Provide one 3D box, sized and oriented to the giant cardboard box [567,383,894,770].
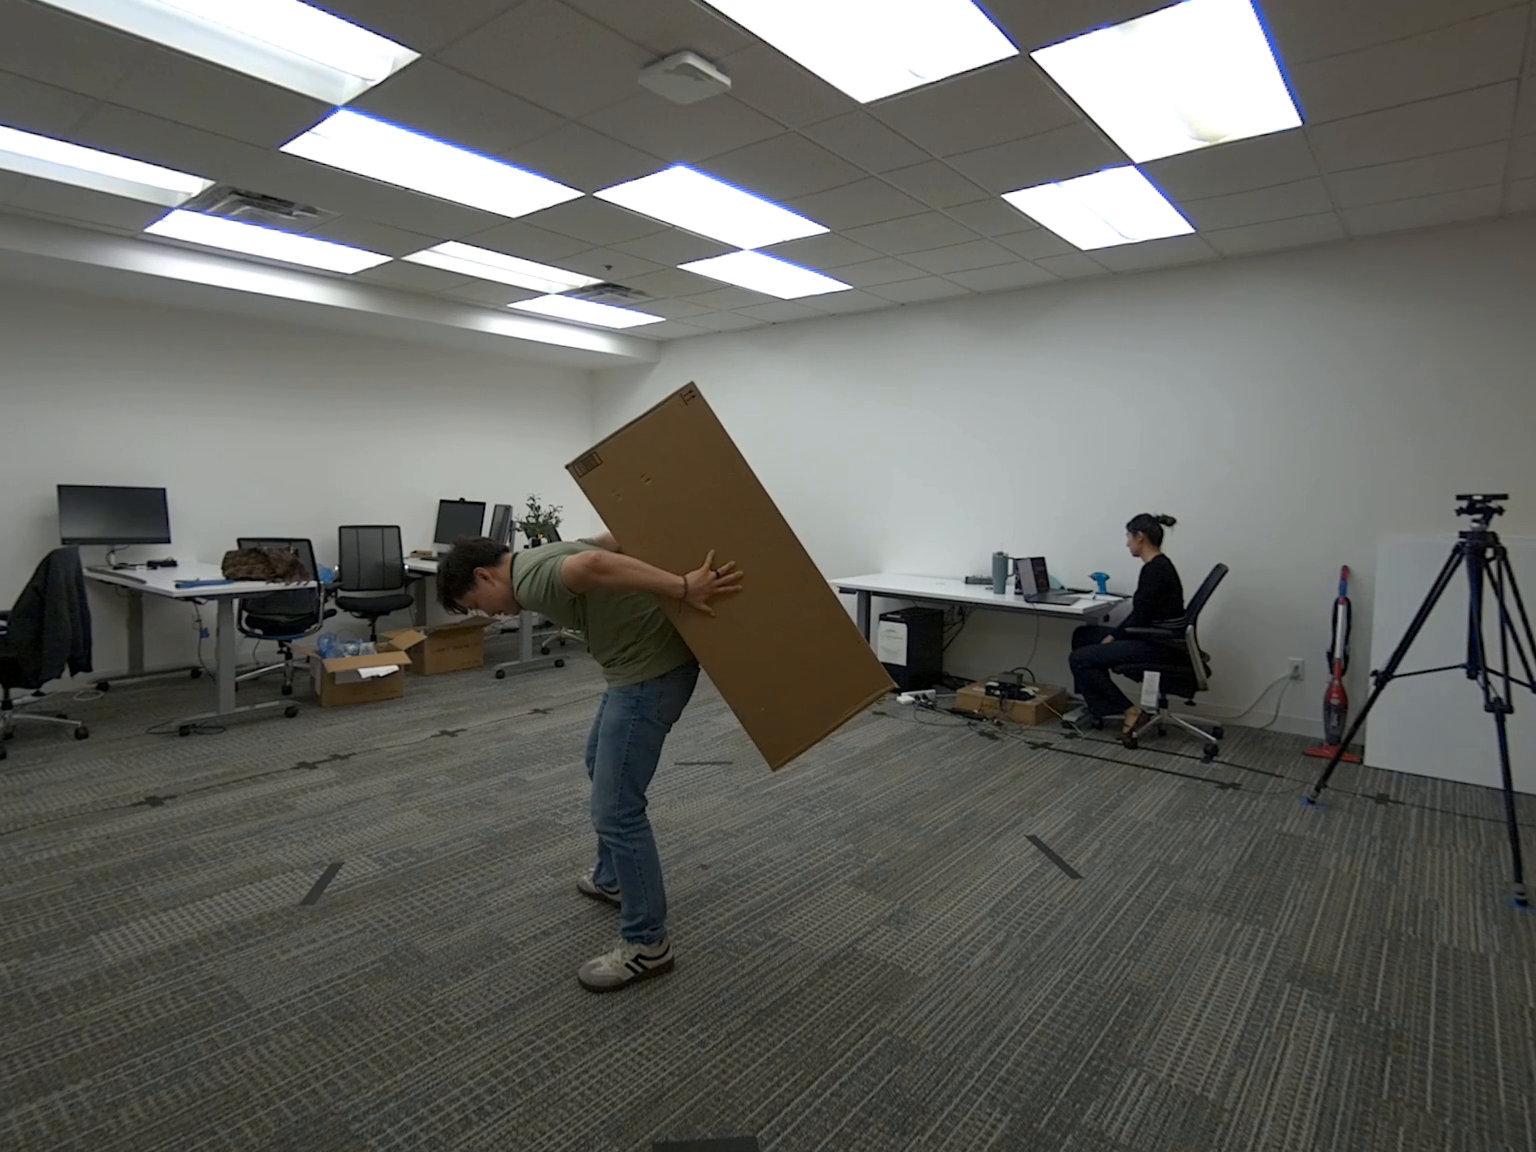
[{"bbox_3d":[-0.144,-0.021,2.616,0.426,1.019,0.582,-34,6,-2],"label":"giant cardboard box"}]
